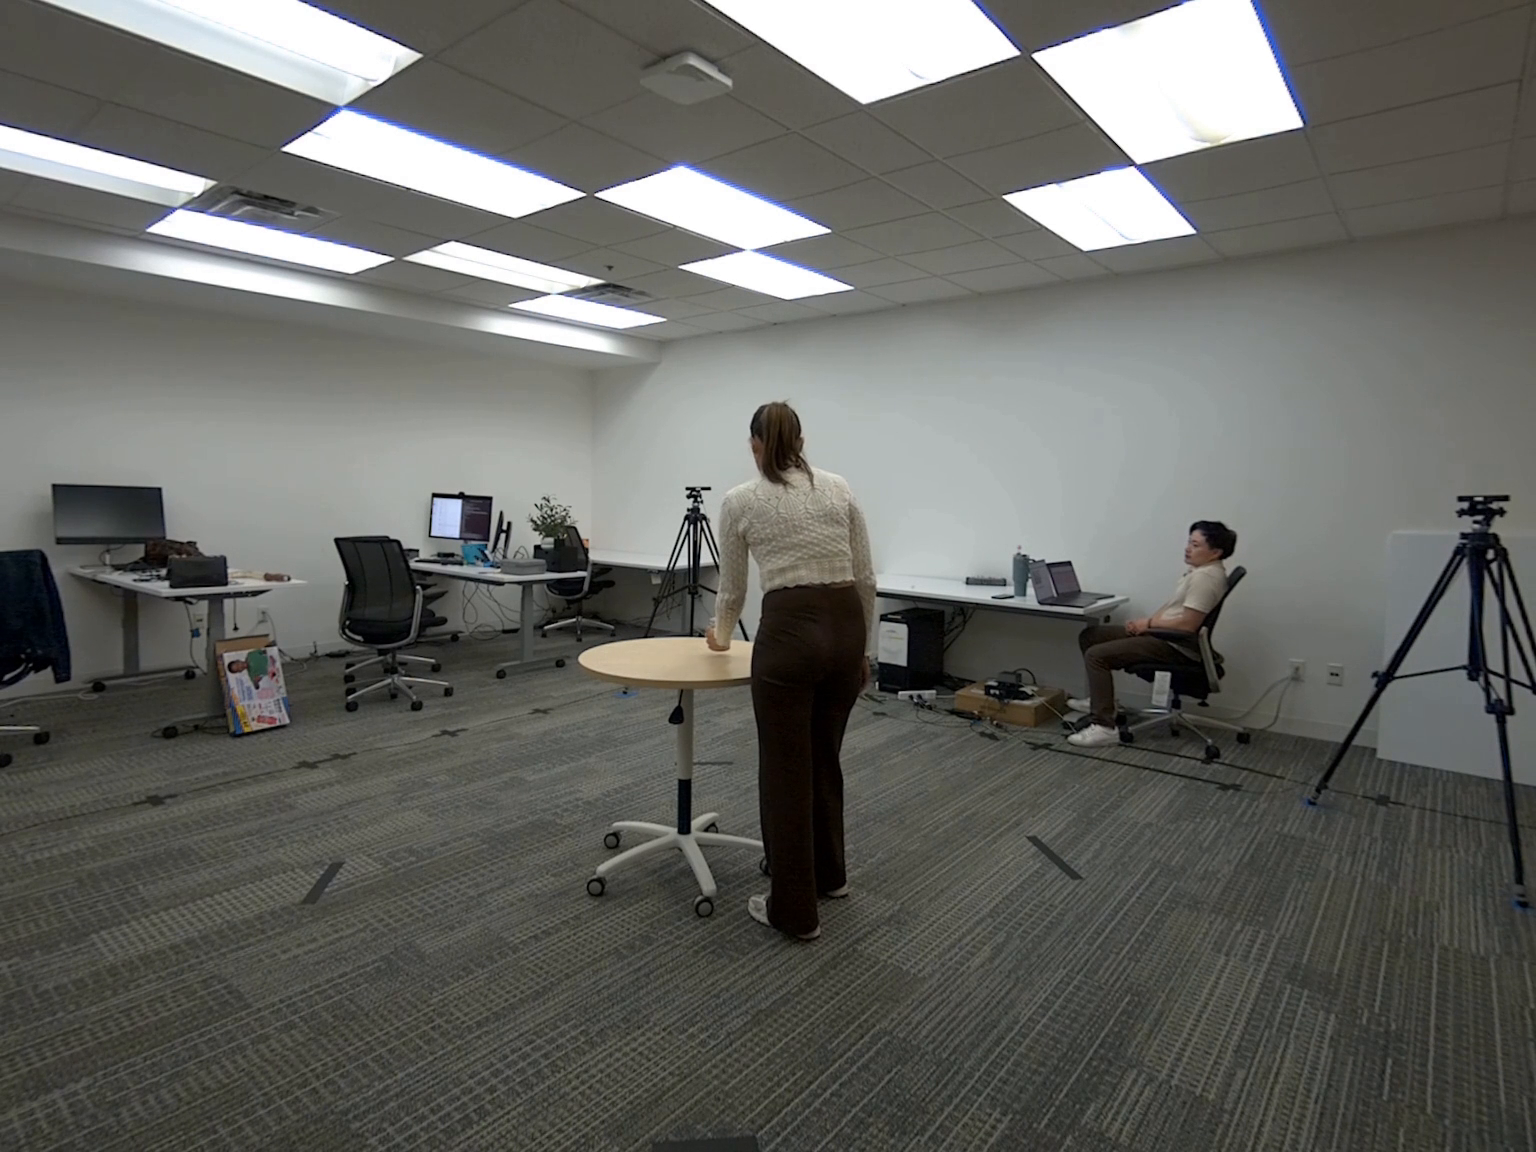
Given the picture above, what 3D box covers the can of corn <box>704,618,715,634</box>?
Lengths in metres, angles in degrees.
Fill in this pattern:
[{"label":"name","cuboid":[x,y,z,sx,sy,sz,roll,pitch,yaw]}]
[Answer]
[{"label":"can of corn","cuboid":[-0.191,0.206,3.062,0.074,0.110,0.075,0,10,-2]}]
